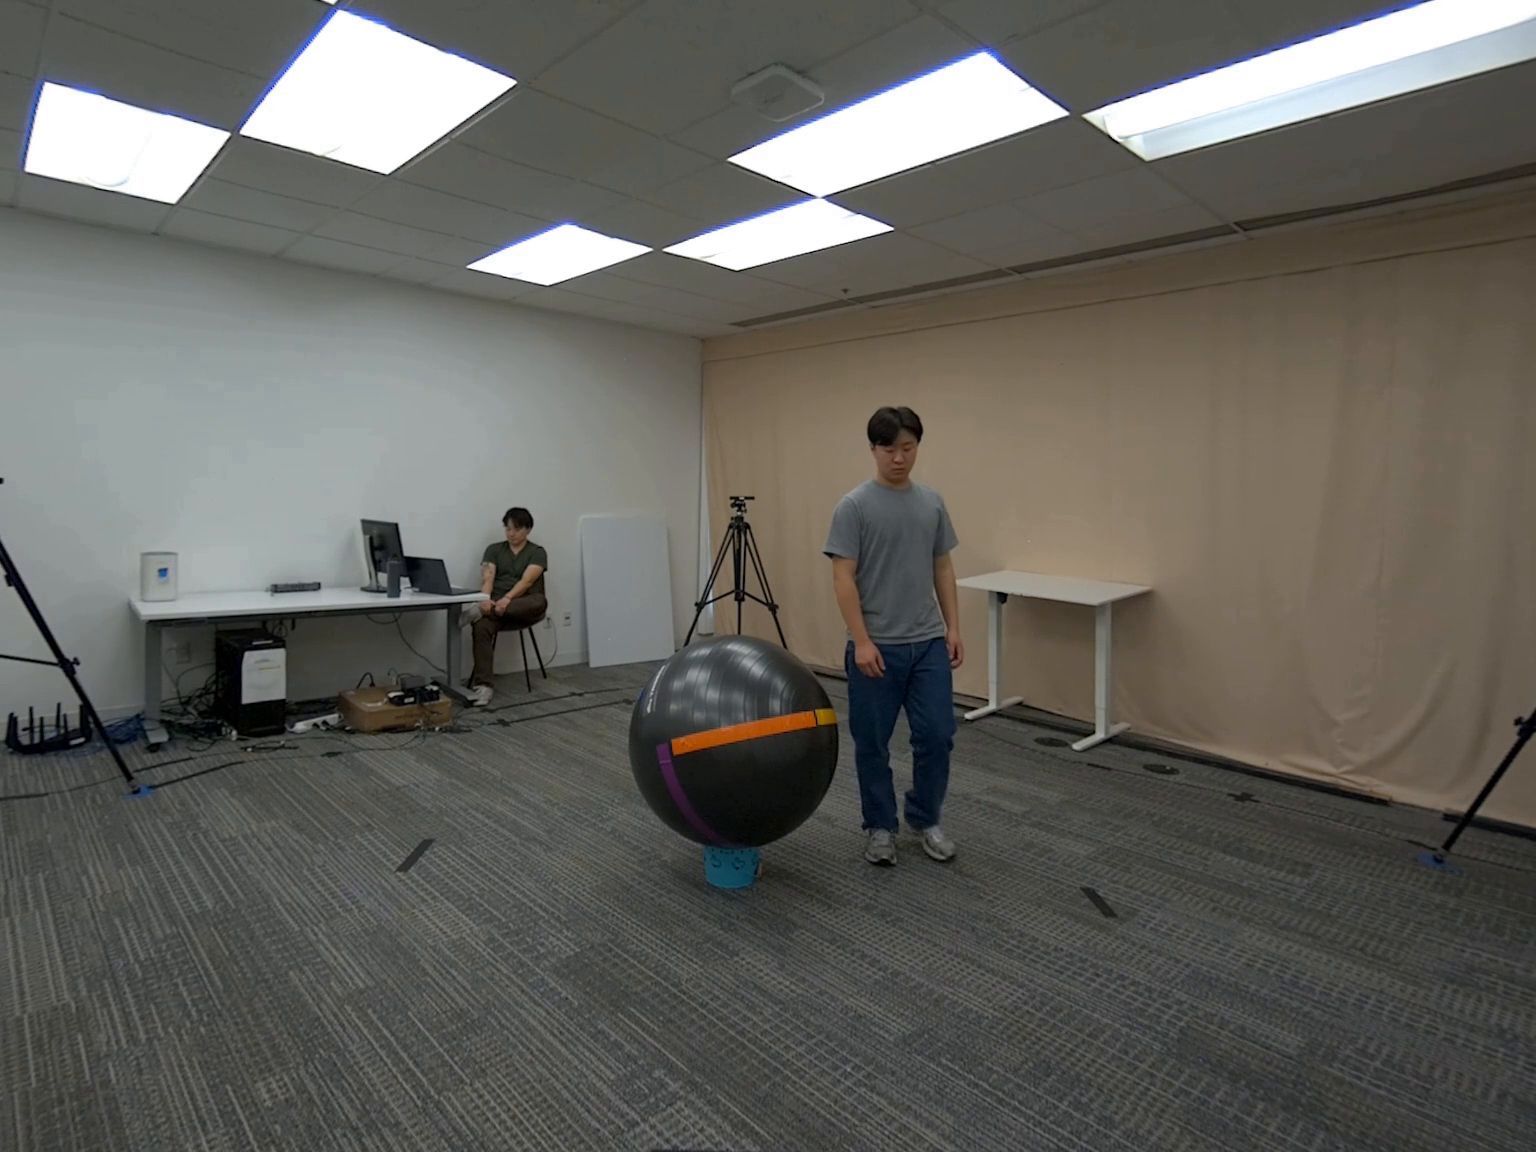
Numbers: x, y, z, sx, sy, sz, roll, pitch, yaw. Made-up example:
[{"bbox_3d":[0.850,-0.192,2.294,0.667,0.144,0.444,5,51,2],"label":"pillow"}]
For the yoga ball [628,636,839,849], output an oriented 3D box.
[{"bbox_3d":[-0.131,0.596,3.066,0.757,0.756,0.761,1,4,-1],"label":"yoga ball"}]
